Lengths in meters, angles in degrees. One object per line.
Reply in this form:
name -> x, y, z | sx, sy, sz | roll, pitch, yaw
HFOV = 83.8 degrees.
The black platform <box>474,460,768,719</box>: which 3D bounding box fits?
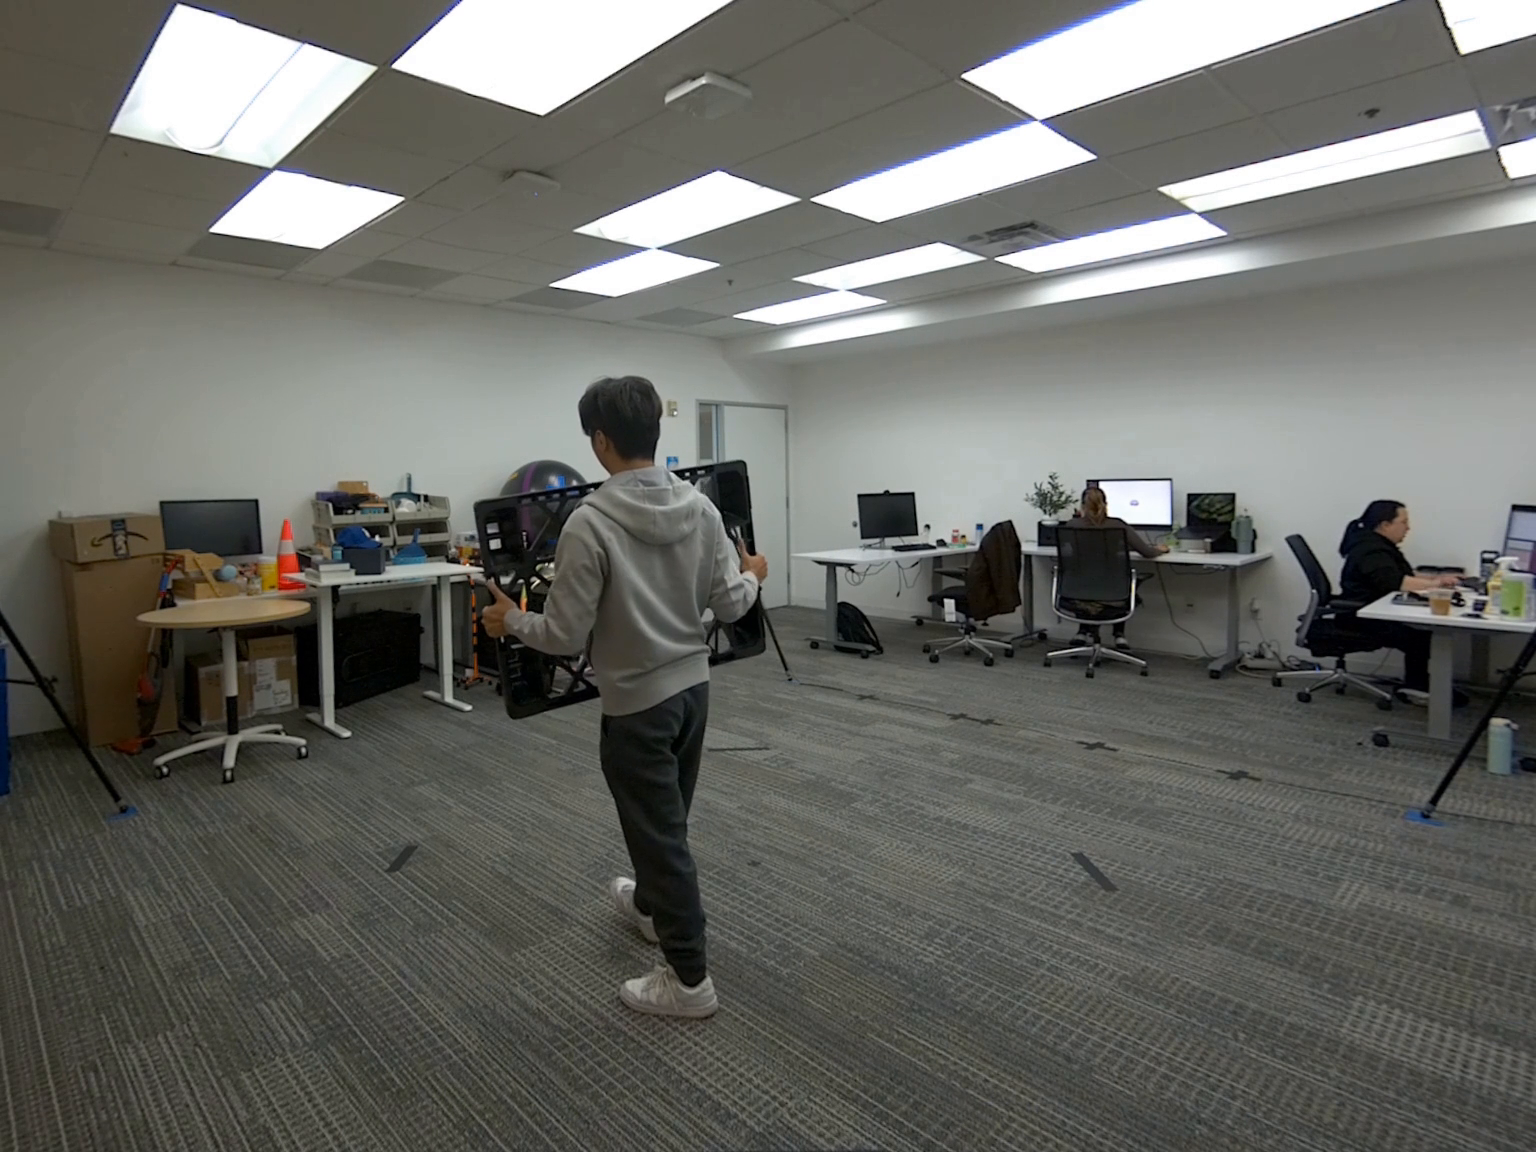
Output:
black platform -> -0.400, 0.015, 2.475 | 0.791, 0.599, 0.147 | -12, 11, -24
